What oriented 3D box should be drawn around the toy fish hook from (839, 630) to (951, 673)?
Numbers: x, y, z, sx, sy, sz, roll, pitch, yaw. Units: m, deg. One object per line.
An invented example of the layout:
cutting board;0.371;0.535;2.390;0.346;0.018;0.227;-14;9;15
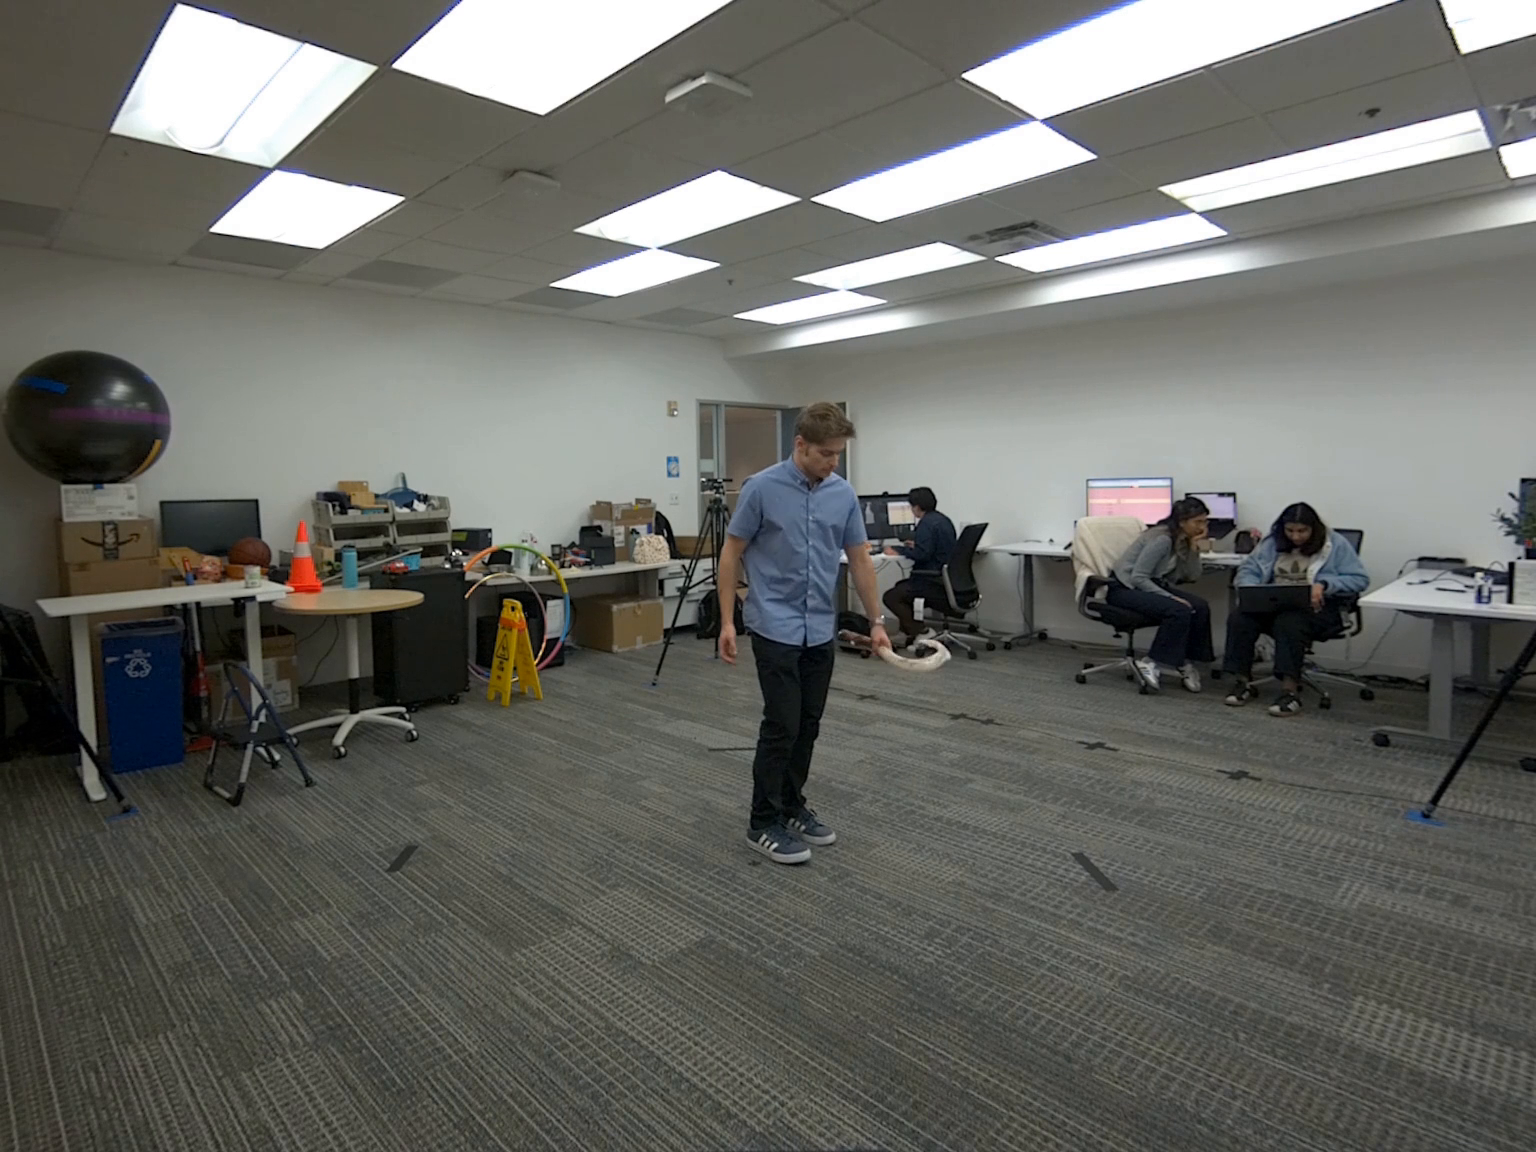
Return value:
toy fish hook;0.487;0.268;3.331;0.221;0.047;0.524;-20;23;-33
